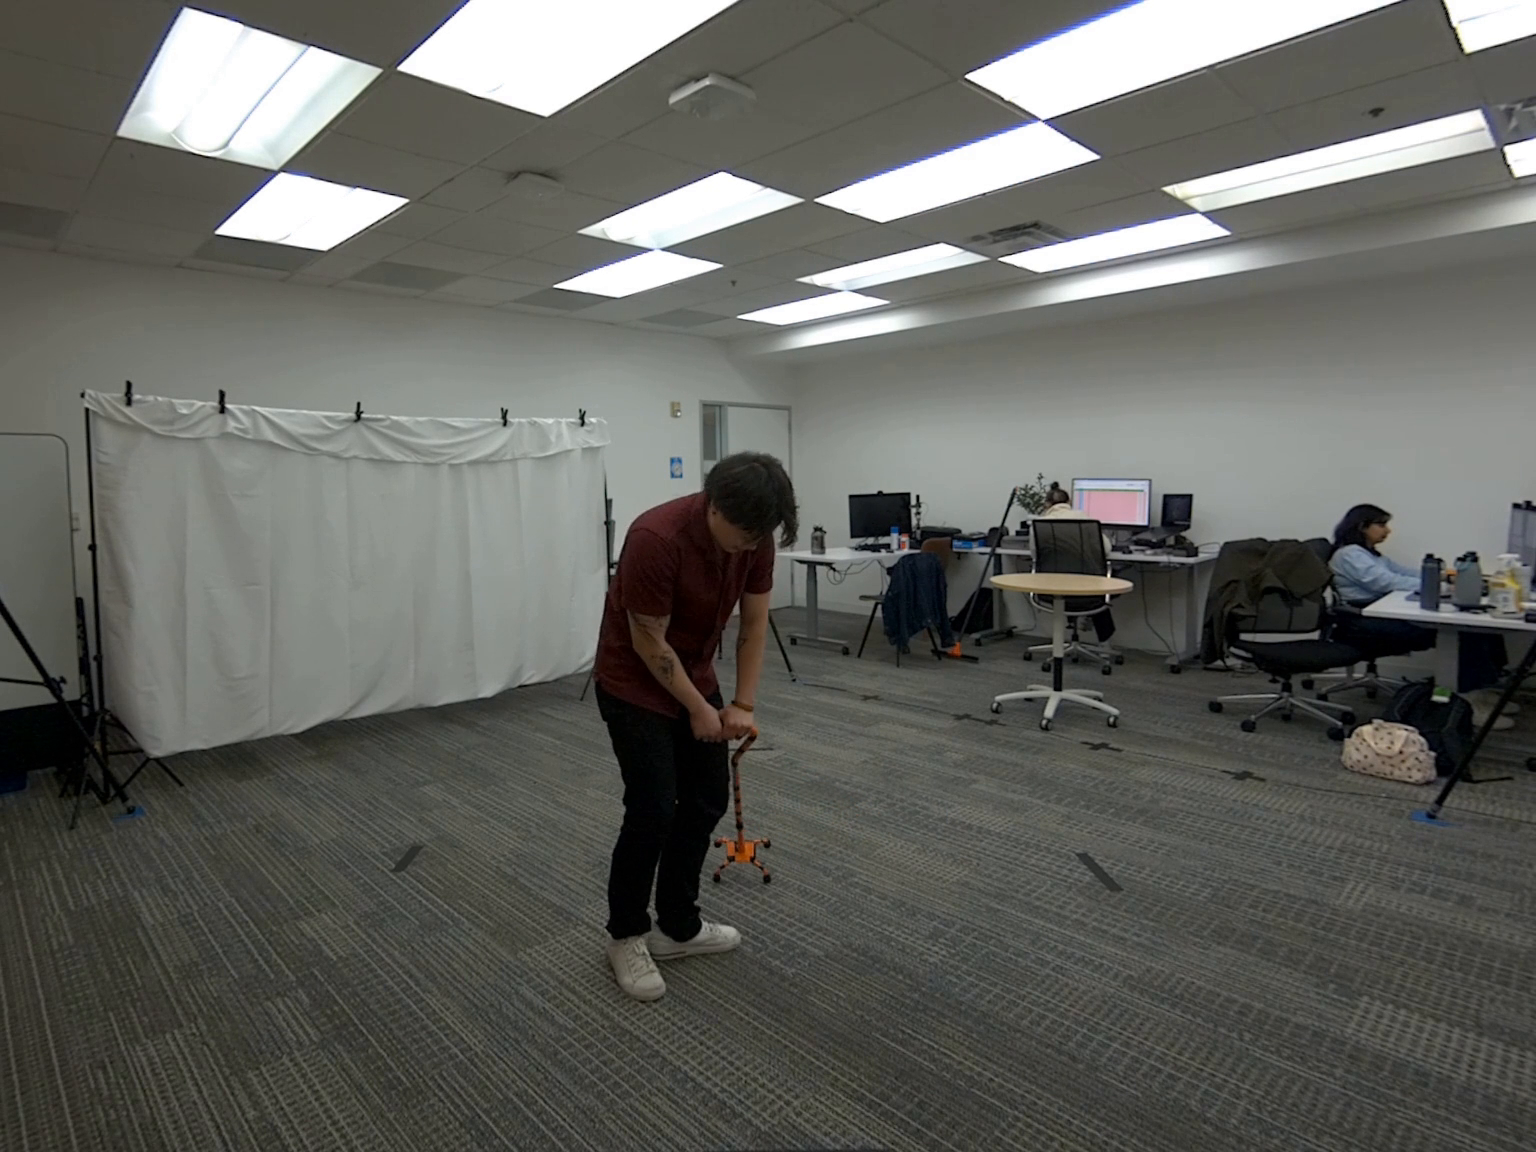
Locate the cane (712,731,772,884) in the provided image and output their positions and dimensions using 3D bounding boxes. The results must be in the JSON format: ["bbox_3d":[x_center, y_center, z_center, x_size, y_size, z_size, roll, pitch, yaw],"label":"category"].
[{"bbox_3d":[-0.089,0.717,2.695,0.206,0.156,0.883,0,-42,0],"label":"cane"}]
